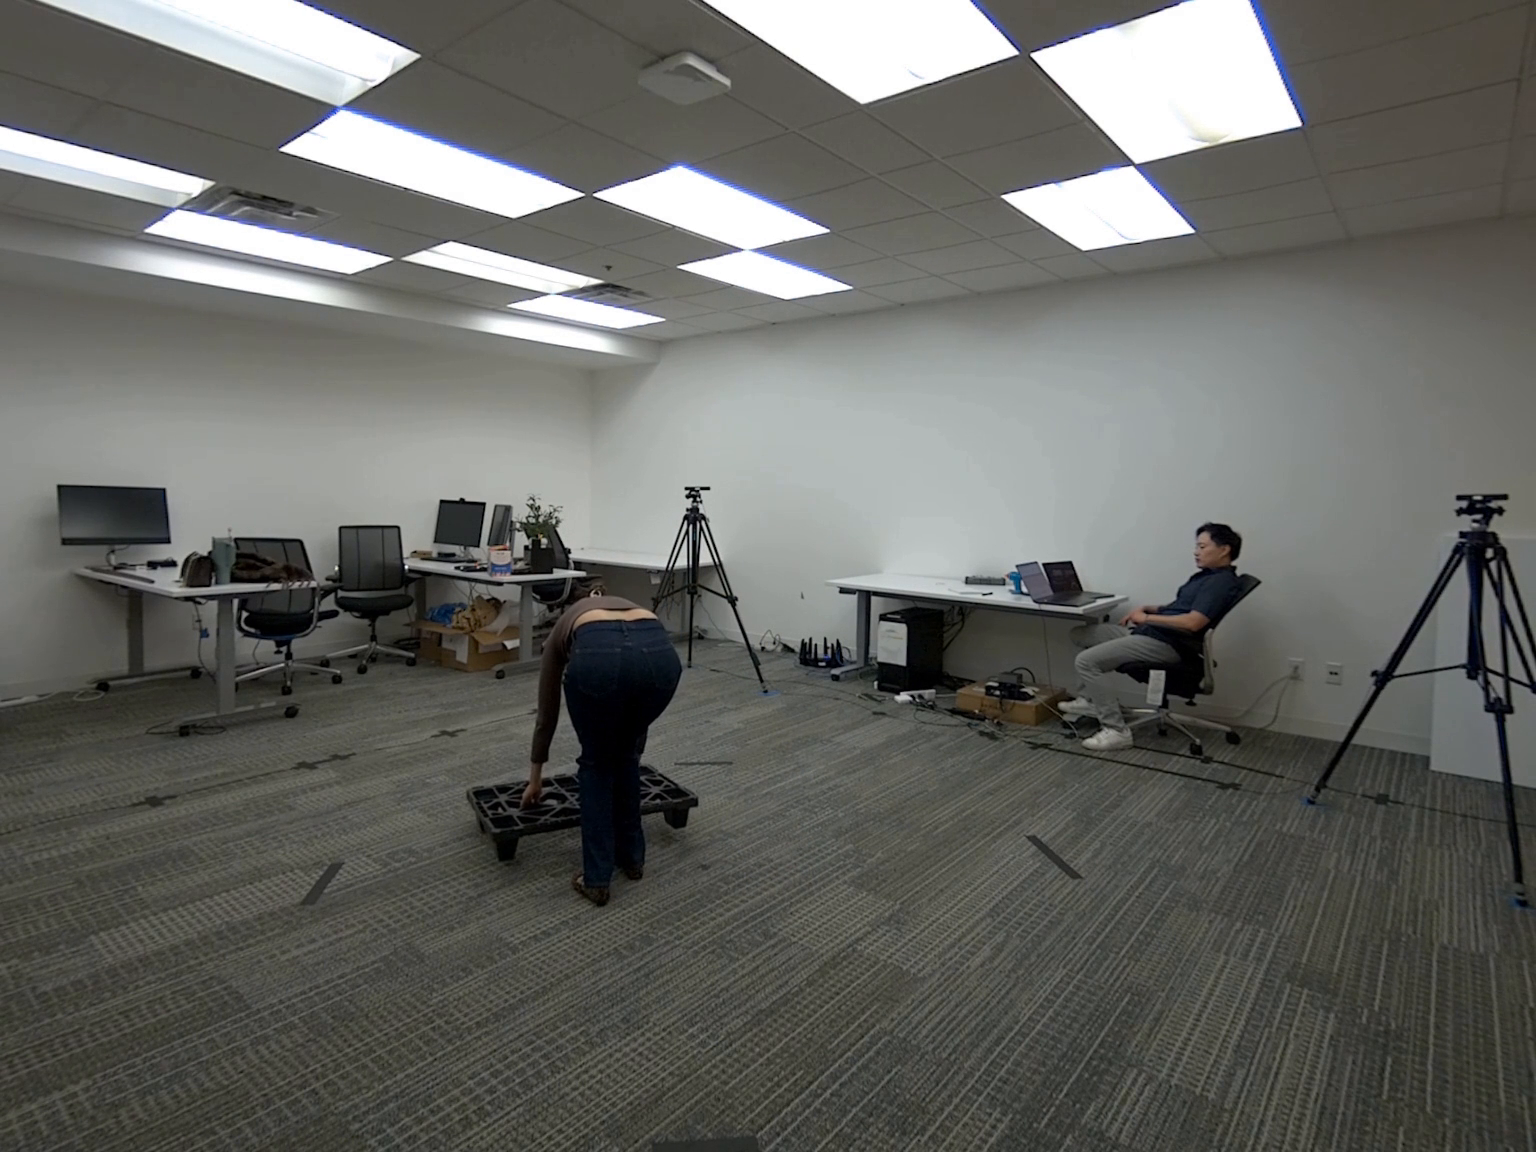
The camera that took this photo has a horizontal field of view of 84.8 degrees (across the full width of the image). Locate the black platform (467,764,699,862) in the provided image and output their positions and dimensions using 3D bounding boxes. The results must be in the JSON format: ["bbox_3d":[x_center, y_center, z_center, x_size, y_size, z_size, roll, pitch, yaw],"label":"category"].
[{"bbox_3d":[-0.774,0.938,3.432,0.786,0.143,0.620,-3,3,-26],"label":"black platform"}]
